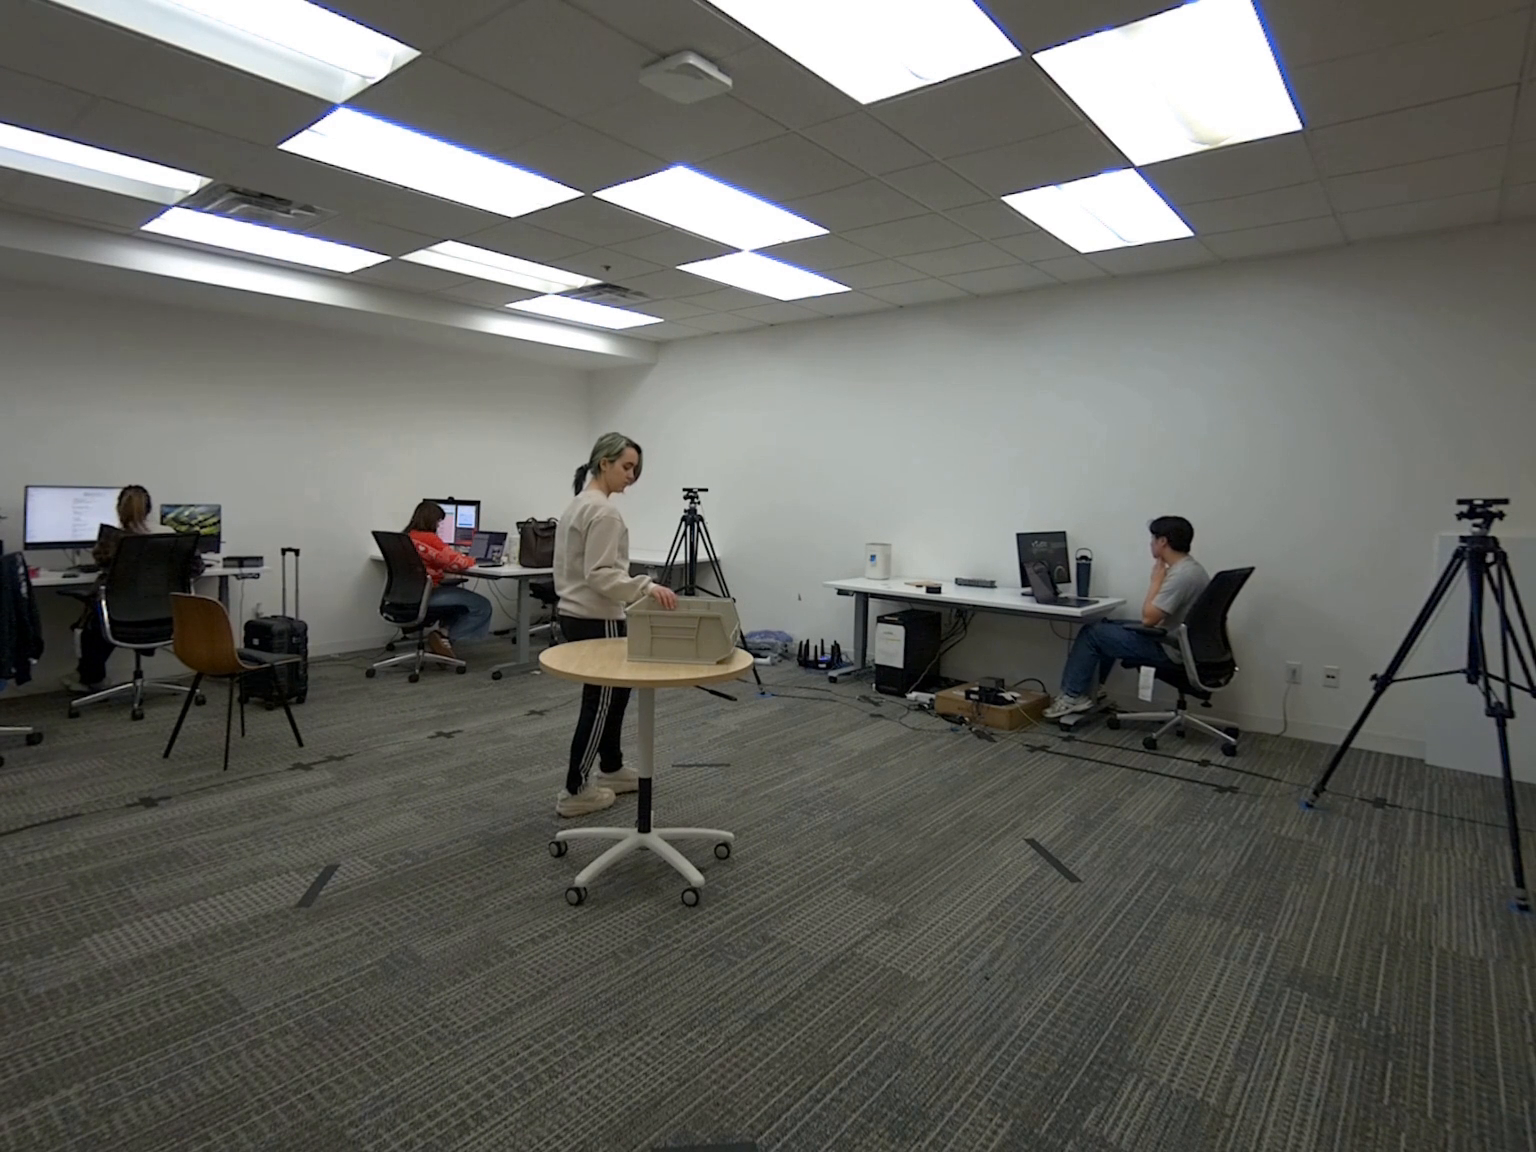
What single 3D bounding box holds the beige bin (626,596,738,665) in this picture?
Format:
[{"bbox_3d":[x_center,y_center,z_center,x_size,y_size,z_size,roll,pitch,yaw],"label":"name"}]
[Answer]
[{"bbox_3d":[-0.321,0.188,3.137,0.379,0.188,0.423,0,6,3],"label":"beige bin"}]
